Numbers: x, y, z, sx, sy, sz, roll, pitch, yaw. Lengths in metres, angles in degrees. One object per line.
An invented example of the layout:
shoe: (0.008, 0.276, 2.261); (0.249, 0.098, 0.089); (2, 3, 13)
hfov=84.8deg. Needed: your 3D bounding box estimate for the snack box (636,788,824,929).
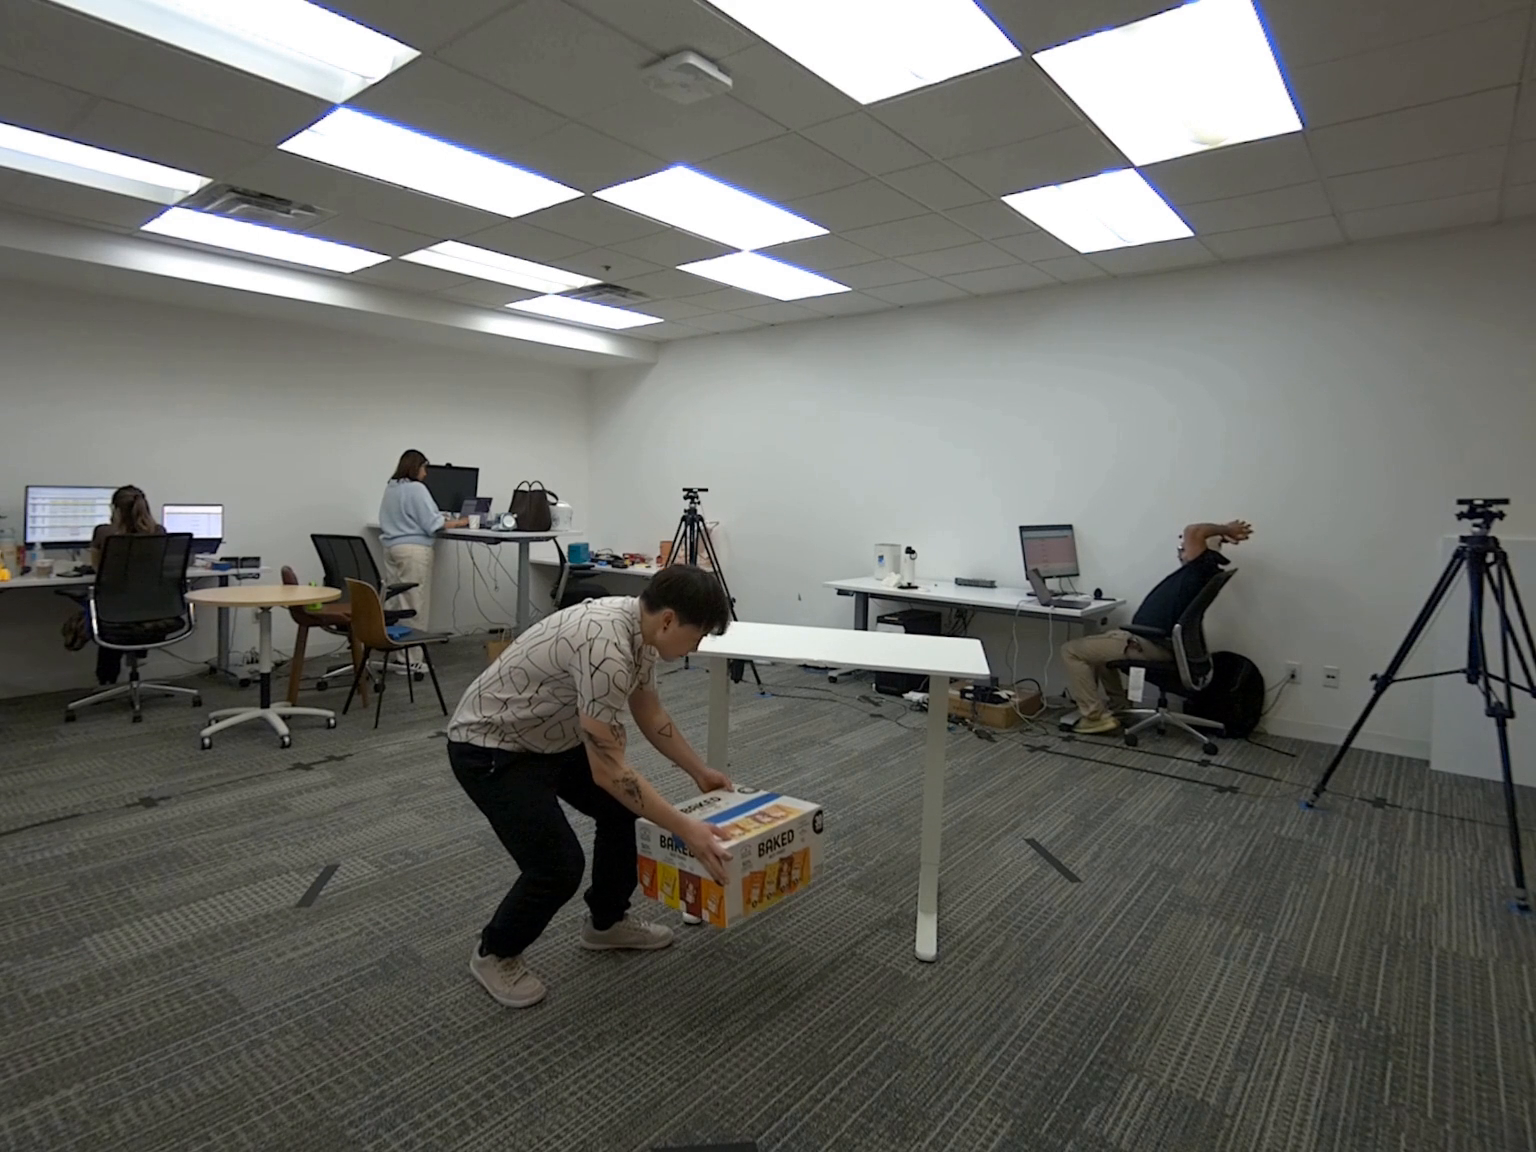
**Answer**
snack box: (-0.112, 0.756, 2.346); (0.351, 0.205, 0.393); (0, 4, 42)
